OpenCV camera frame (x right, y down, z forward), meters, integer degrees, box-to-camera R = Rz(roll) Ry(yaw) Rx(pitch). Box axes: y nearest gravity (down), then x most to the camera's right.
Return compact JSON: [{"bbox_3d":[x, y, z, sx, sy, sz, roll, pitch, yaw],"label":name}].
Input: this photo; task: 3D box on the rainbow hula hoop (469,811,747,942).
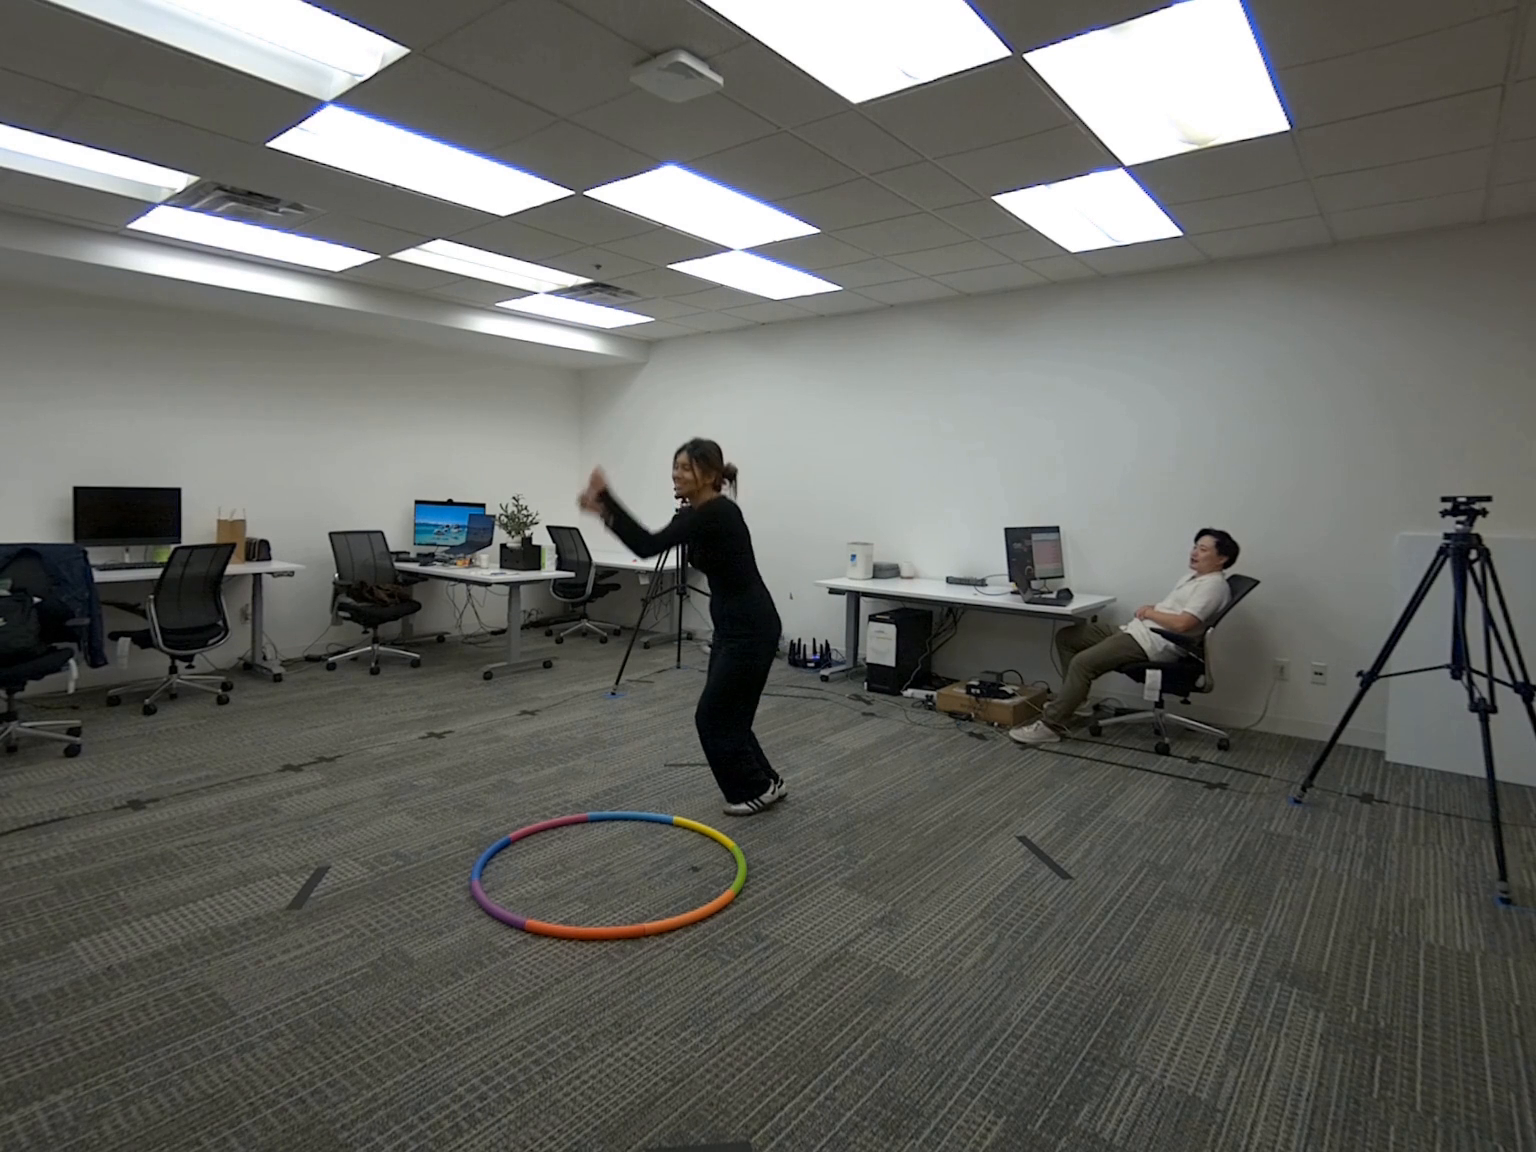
[{"bbox_3d":[-0.573,1.035,3.083,0.978,0.035,0.984,1,6,-2],"label":"rainbow hula hoop"}]
